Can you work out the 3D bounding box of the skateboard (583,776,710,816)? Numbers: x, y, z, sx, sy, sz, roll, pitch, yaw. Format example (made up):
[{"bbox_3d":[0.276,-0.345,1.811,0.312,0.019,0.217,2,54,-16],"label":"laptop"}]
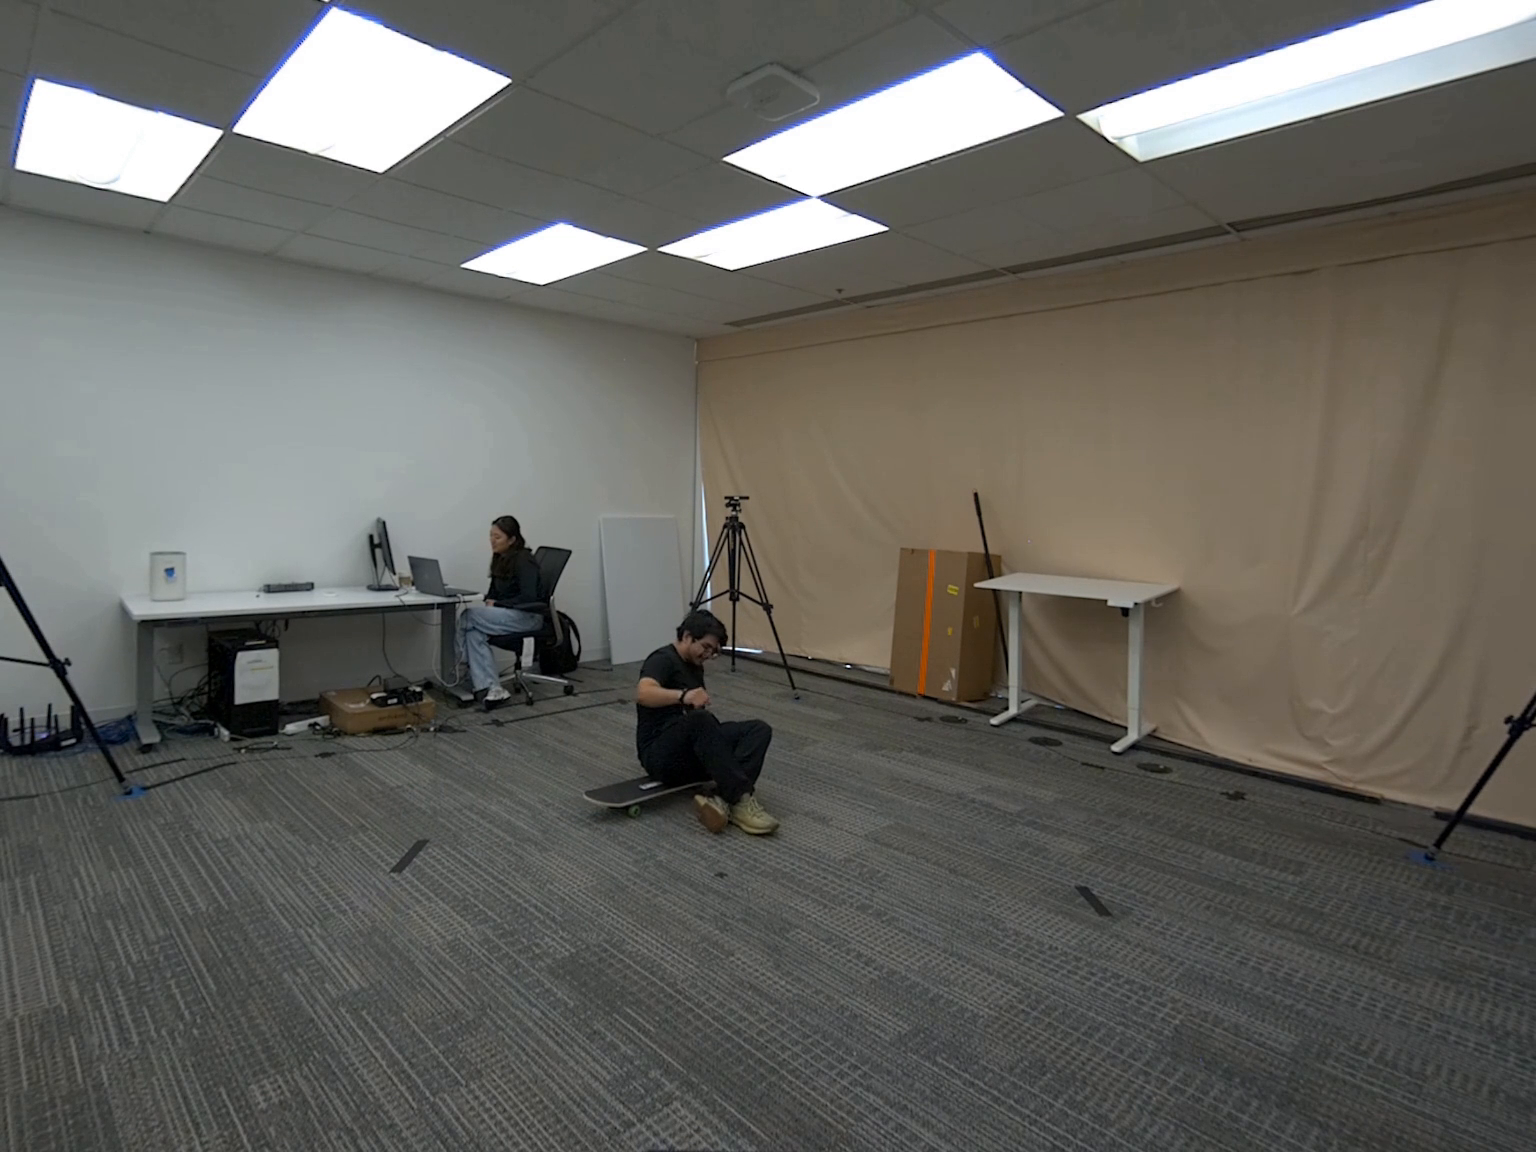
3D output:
[{"bbox_3d":[-0.511,0.971,3.841,0.767,0.110,0.199,-2,8,-44],"label":"skateboard"}]
